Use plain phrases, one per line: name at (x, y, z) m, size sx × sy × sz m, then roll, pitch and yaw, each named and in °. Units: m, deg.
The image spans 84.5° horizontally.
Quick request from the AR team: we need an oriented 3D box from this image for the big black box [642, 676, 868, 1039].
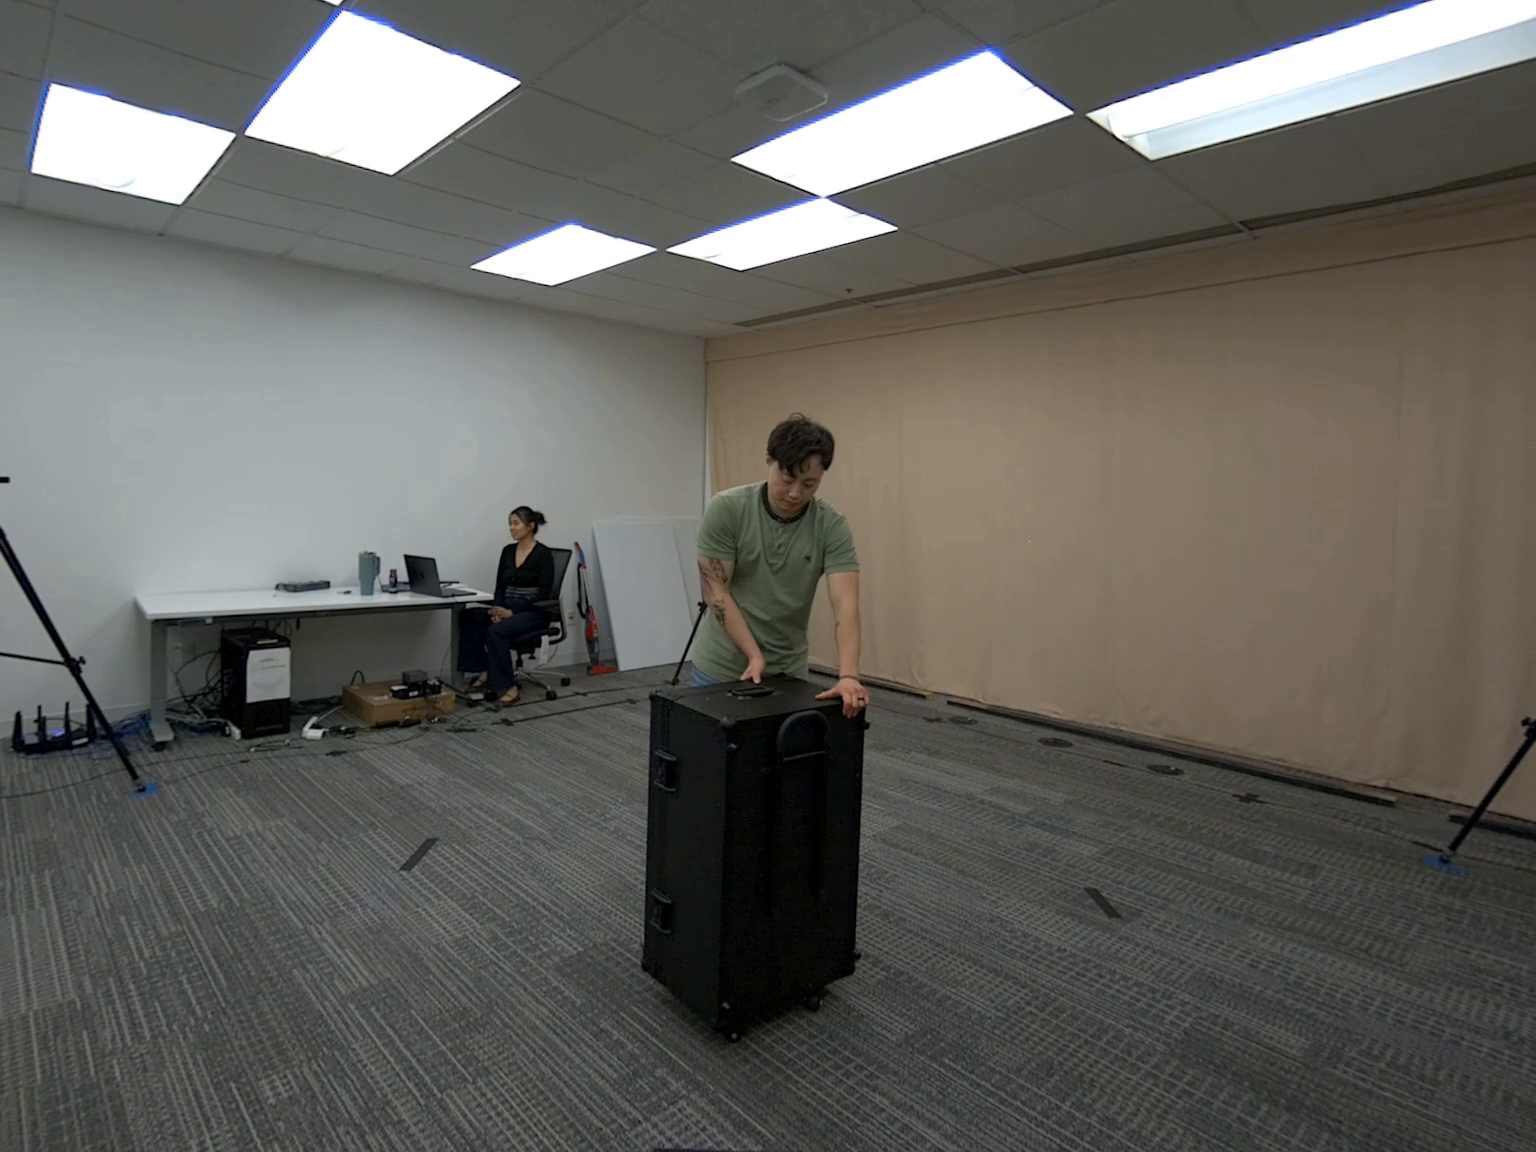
big black box at (-0.029, 0.756, 2.313) m, size 0.509 × 0.859 × 0.406 m, roll -1°, pitch 5°, yaw -39°
